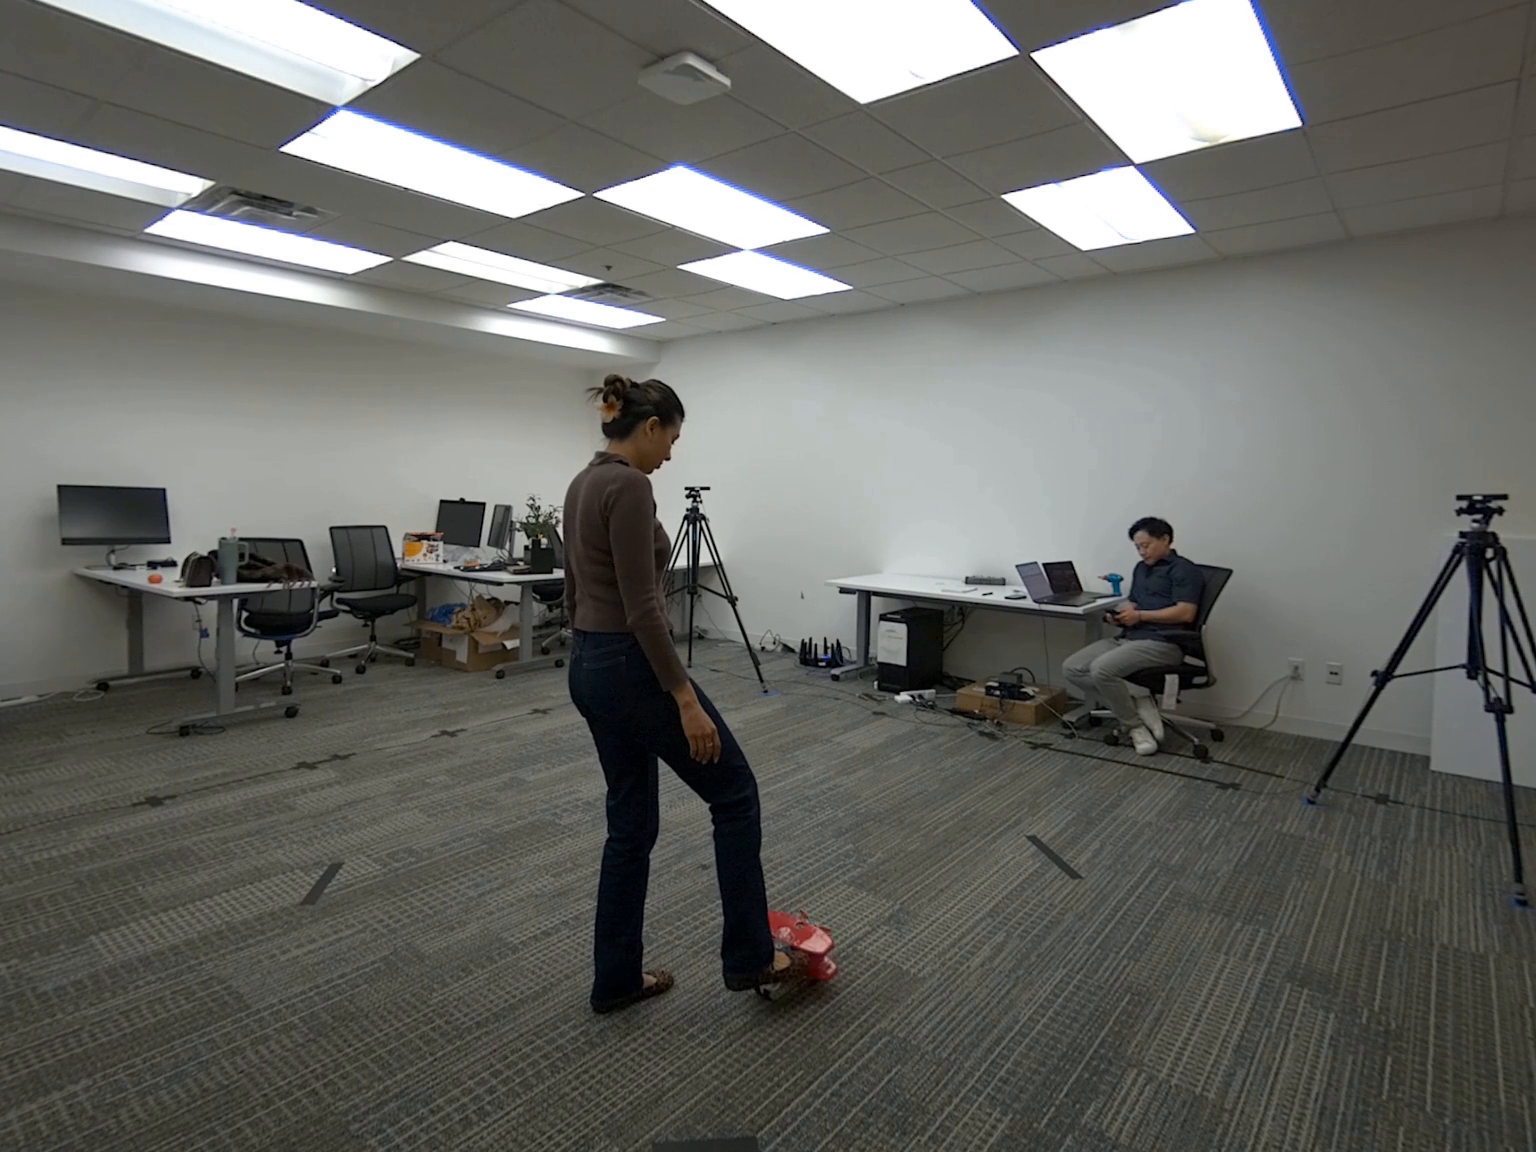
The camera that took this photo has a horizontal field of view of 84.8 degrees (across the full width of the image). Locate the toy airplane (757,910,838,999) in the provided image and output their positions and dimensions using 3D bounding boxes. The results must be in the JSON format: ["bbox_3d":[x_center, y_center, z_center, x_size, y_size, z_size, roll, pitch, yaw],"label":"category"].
[{"bbox_3d":[0.067,1.069,2.383,0.256,0.156,0.255,4,5,17],"label":"toy airplane"}]
